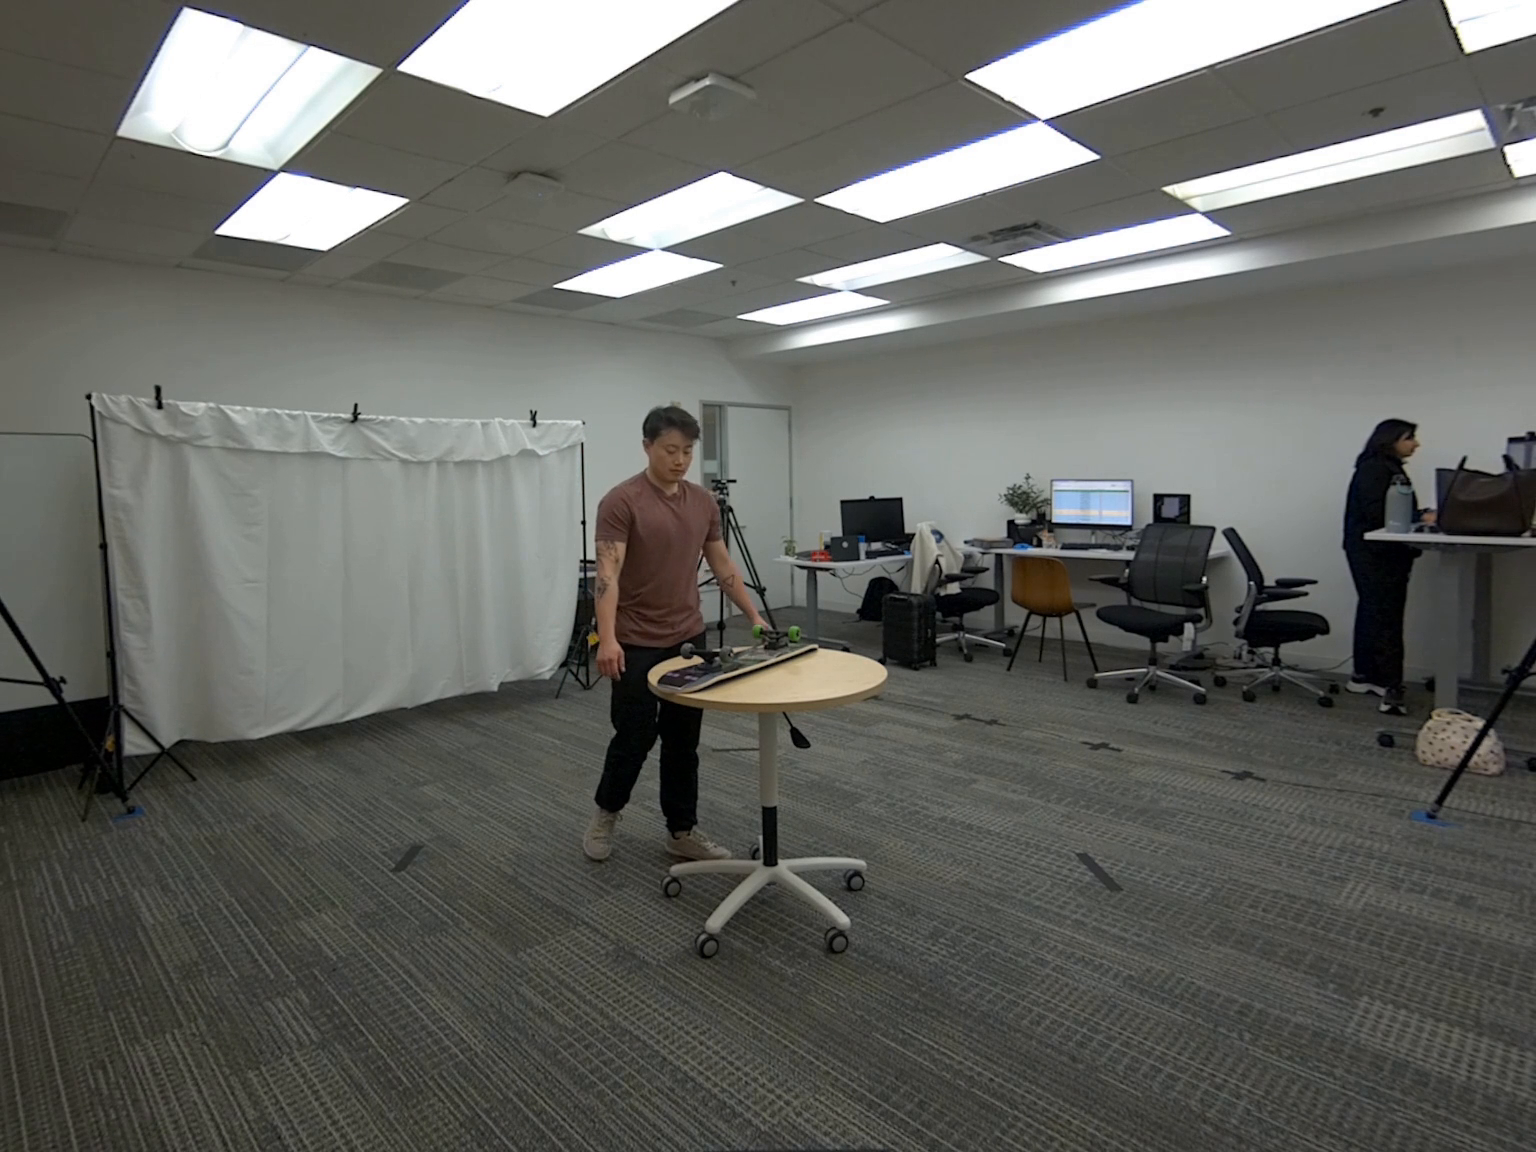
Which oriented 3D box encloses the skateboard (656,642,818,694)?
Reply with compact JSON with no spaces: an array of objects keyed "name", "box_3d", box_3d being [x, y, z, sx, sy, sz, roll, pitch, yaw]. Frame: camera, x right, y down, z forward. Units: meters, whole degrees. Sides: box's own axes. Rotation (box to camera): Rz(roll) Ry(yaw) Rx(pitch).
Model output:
[{"name":"skateboard","box_3d":[-0.076,0.246,2.823,0.199,0.110,0.767,0,7,36]}]
